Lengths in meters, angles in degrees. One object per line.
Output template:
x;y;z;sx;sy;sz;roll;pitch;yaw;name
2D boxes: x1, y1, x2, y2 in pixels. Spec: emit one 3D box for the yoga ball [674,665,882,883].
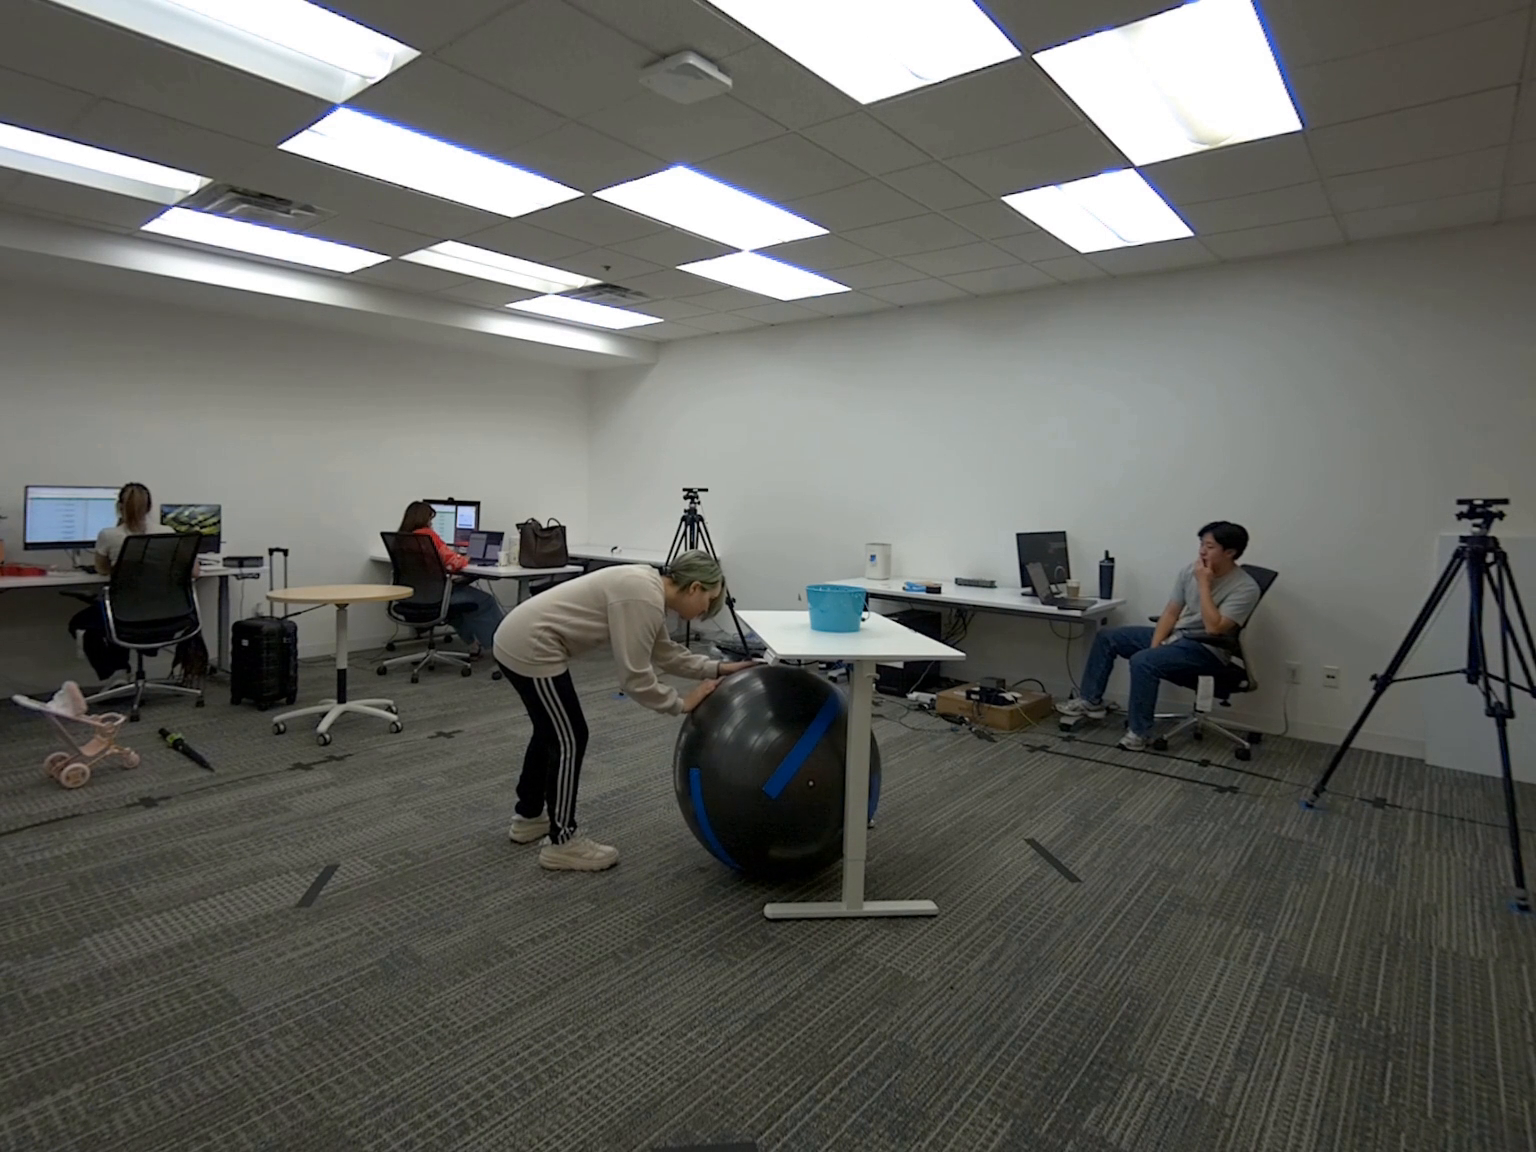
0.018;0.706;3.118;0.757;0.755;0.762;1;4;-2;yoga ball
